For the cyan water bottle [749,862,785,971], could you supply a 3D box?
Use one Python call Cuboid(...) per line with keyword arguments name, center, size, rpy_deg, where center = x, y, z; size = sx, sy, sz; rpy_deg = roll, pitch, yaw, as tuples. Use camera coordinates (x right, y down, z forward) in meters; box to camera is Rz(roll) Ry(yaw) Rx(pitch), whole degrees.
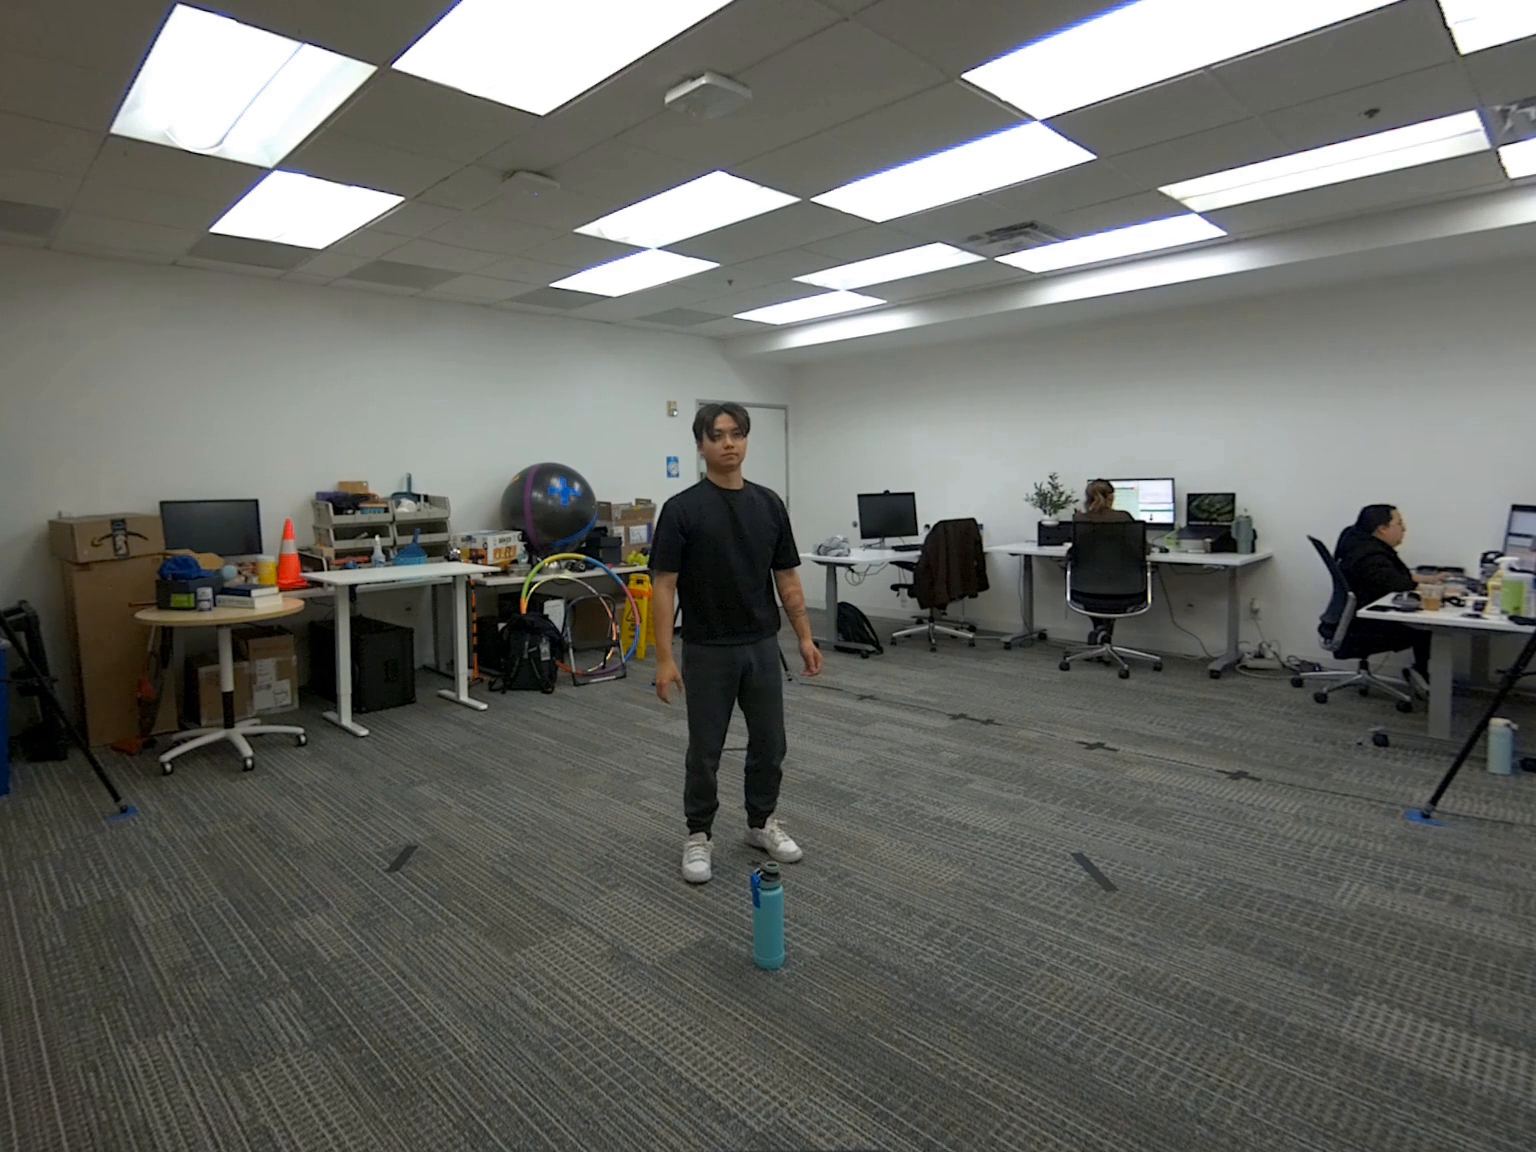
Cuboid(name="cyan water bottle", center=(0.003, 0.981, 2.467), size=(0.092, 0.282, 0.093), rpy_deg=(-2, 3, -2))
